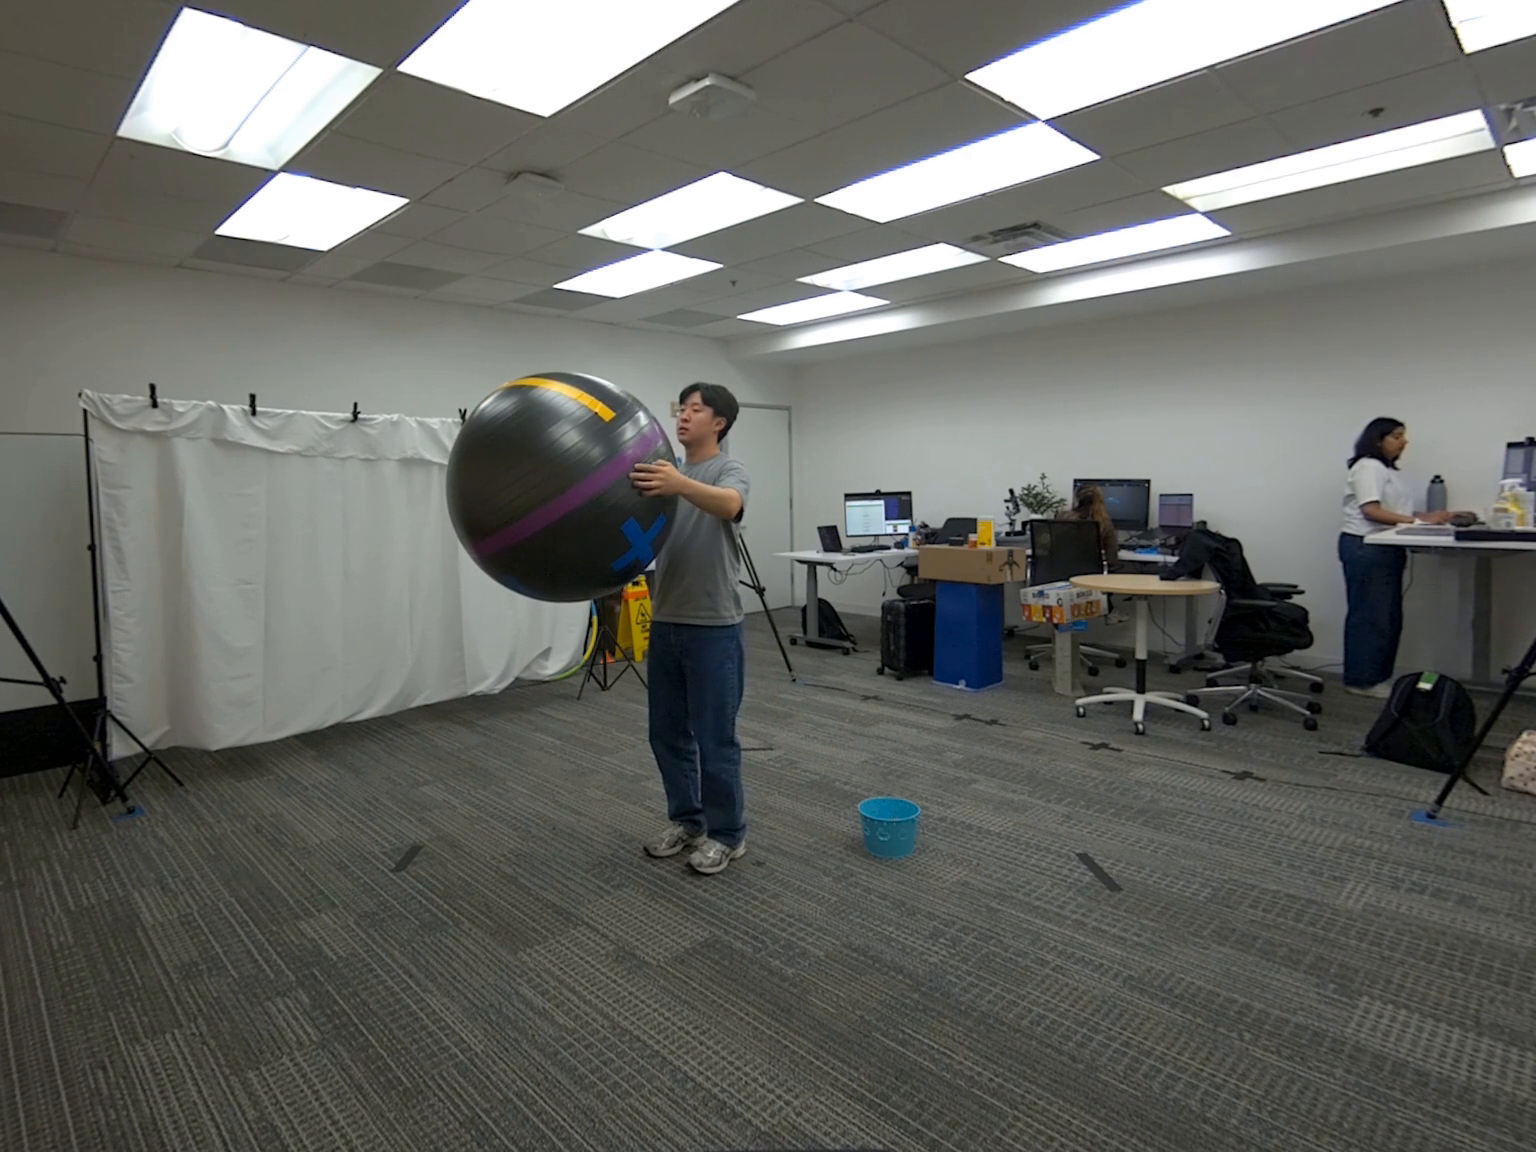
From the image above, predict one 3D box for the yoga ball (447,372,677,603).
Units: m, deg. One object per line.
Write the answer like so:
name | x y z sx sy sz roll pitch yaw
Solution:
yoga ball | -0.689 -0.282 2.821 0.757 0.755 0.762 -1 5 -2
